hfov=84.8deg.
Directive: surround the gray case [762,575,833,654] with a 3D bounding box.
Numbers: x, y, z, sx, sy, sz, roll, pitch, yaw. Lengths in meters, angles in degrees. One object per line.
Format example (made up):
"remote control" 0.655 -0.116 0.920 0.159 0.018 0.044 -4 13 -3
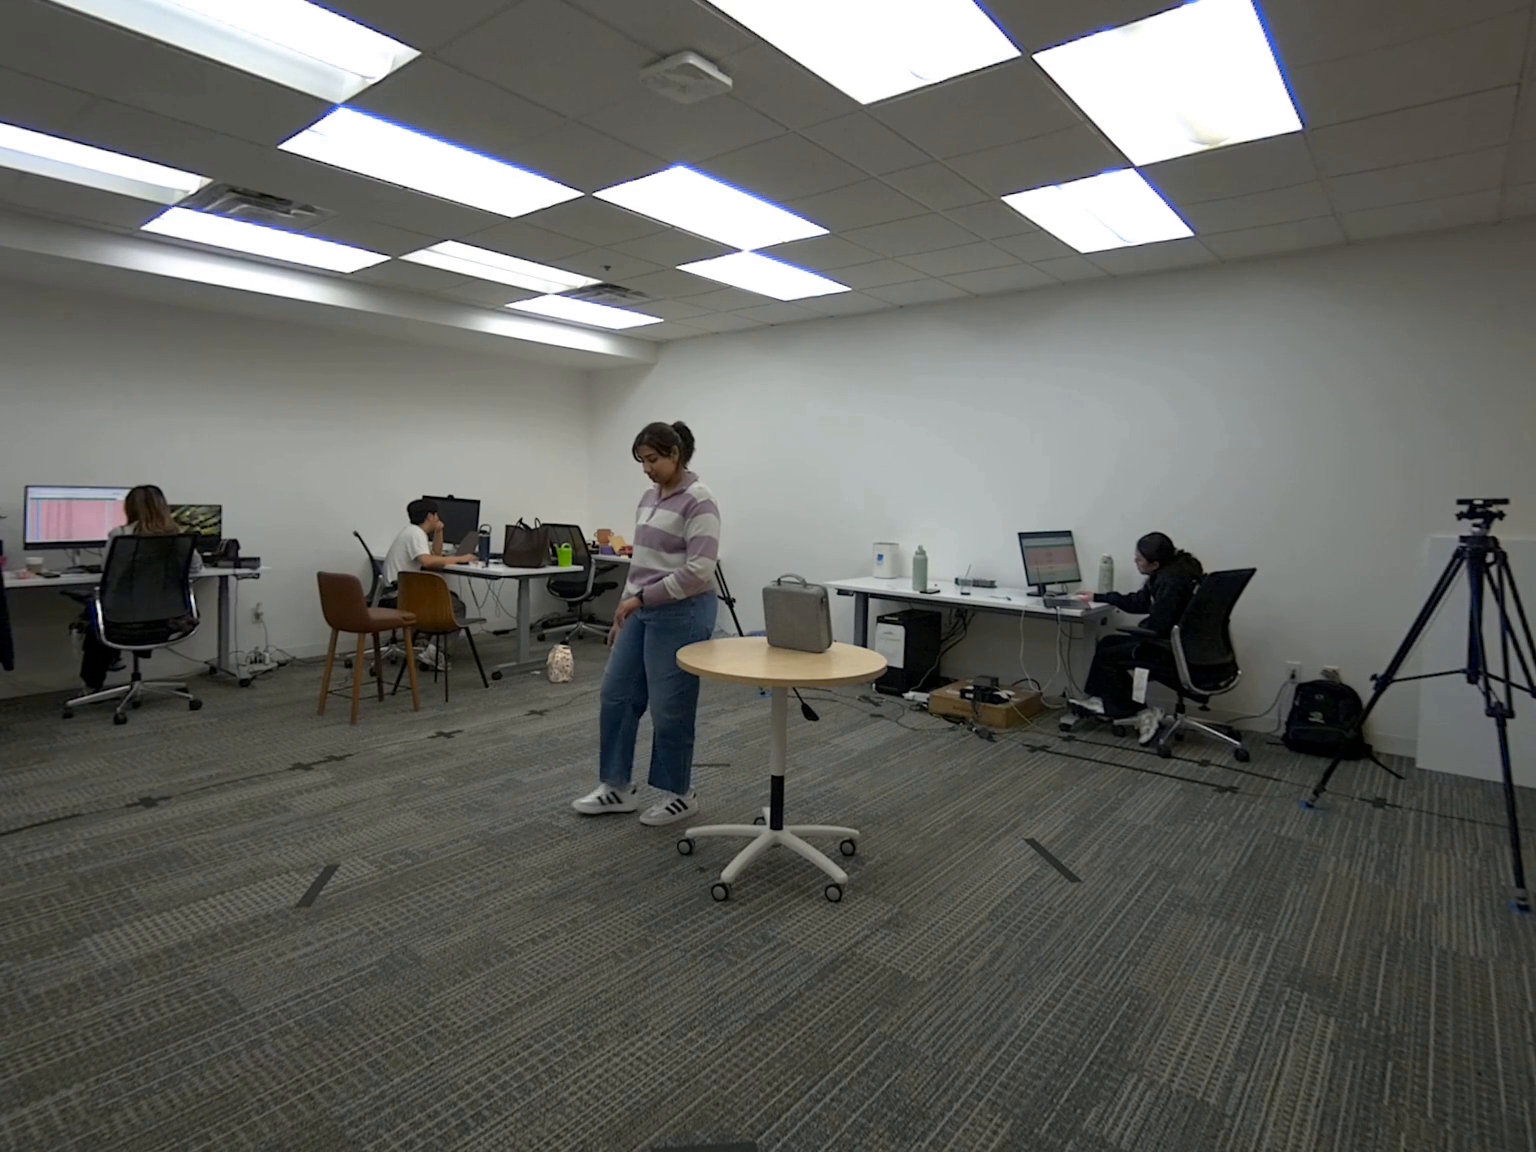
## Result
"gray case" 0.104 0.146 3.235 0.265 0.257 0.102 4 17 36
